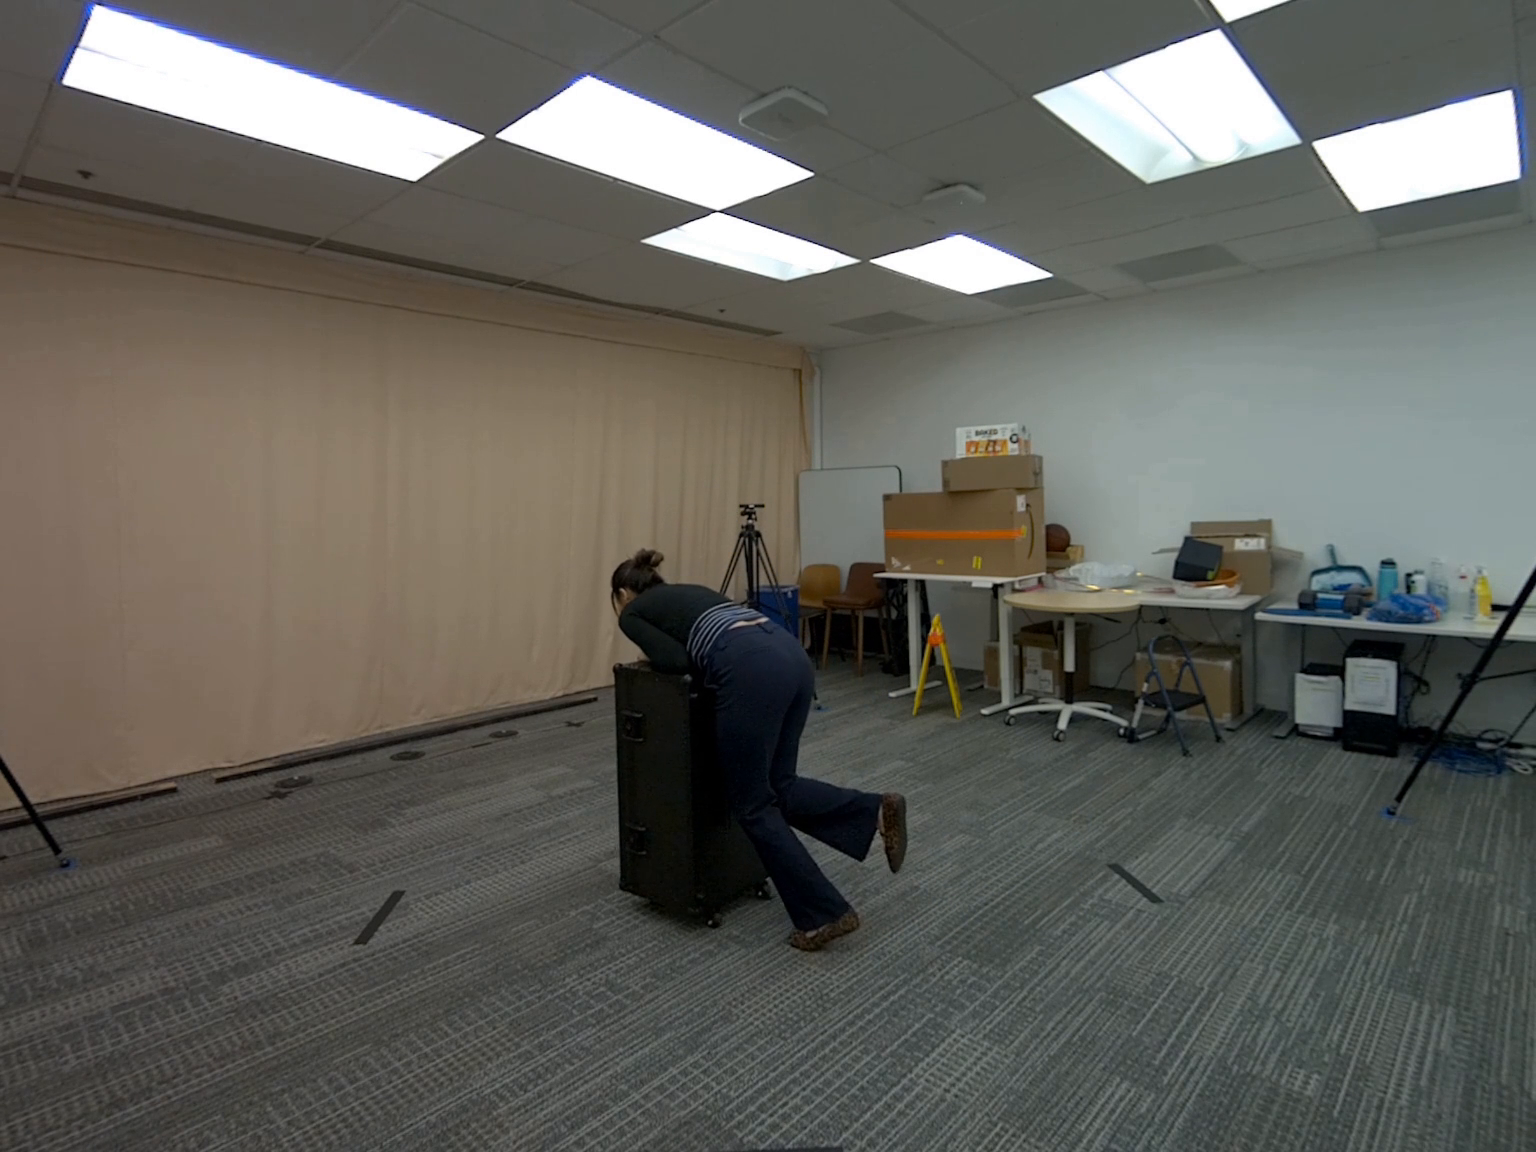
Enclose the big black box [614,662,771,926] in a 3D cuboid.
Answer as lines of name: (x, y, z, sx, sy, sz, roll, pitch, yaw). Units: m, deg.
big black box: (-0.220, 0.721, 2.963, 0.409, 0.860, 0.505, 1, 4, 39)
